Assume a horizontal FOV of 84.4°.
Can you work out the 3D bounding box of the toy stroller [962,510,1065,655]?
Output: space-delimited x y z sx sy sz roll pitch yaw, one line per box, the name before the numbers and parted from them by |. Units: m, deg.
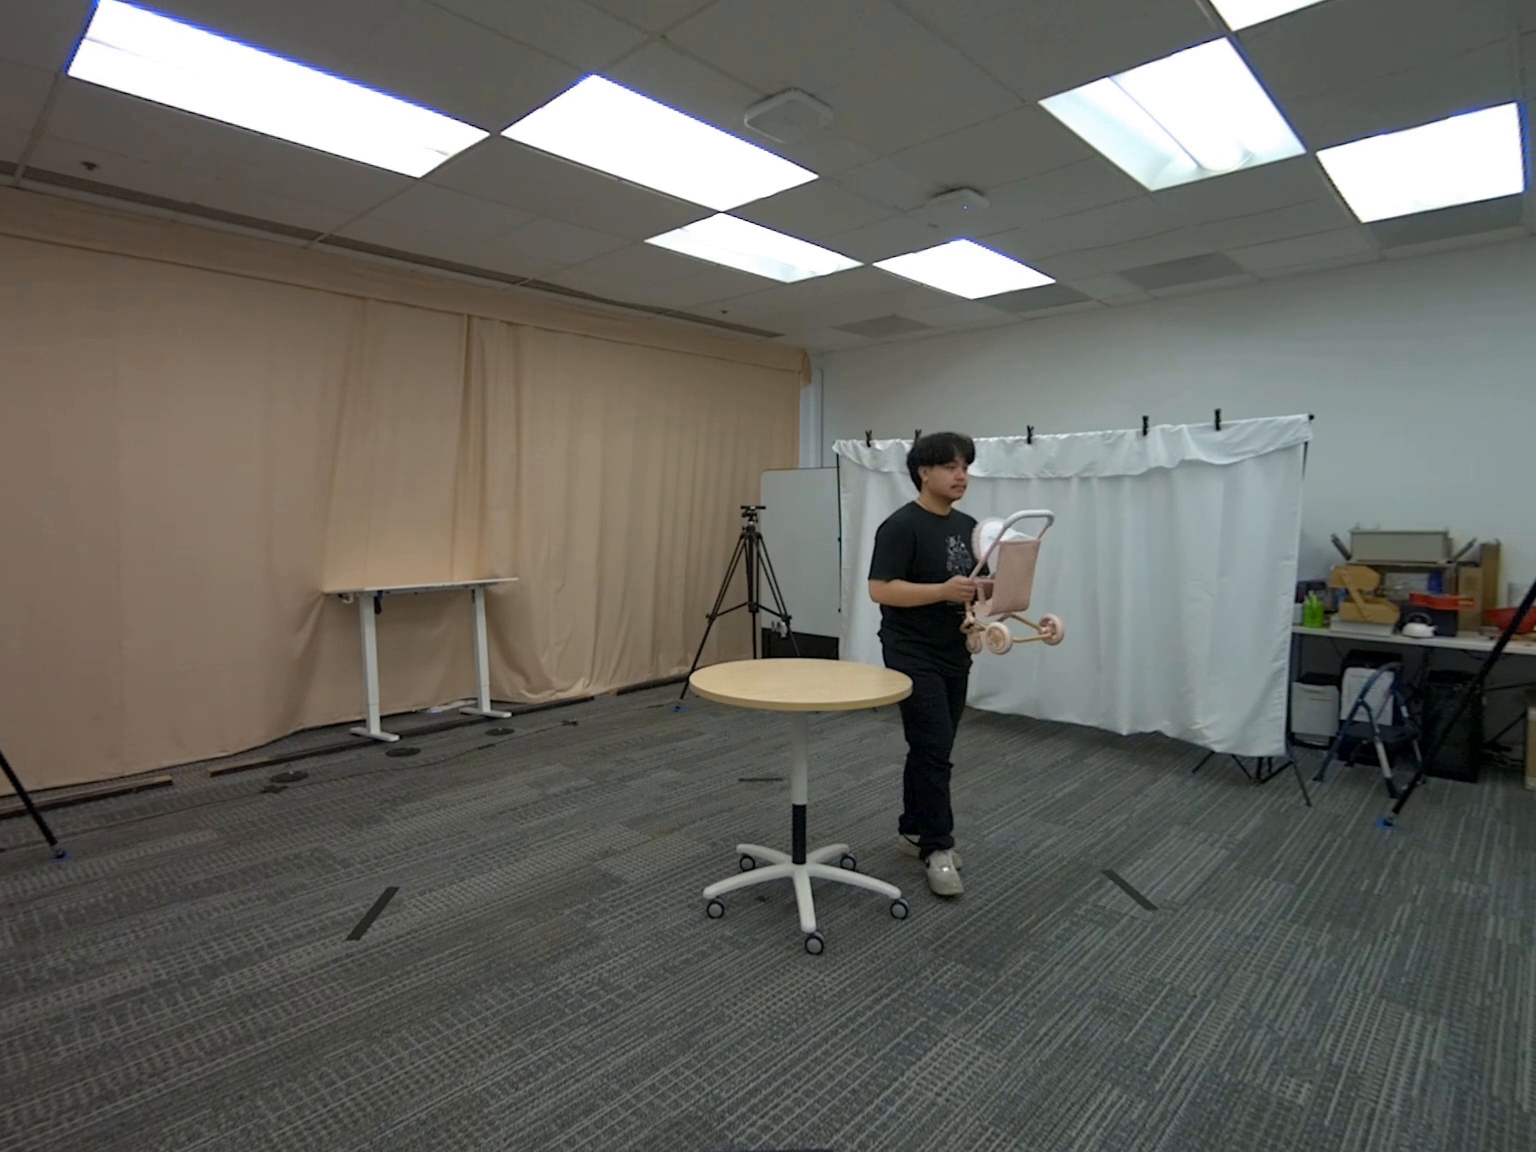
toy stroller | 0.815 0.037 2.949 0.275 0.533 0.350 -6 7 -24
